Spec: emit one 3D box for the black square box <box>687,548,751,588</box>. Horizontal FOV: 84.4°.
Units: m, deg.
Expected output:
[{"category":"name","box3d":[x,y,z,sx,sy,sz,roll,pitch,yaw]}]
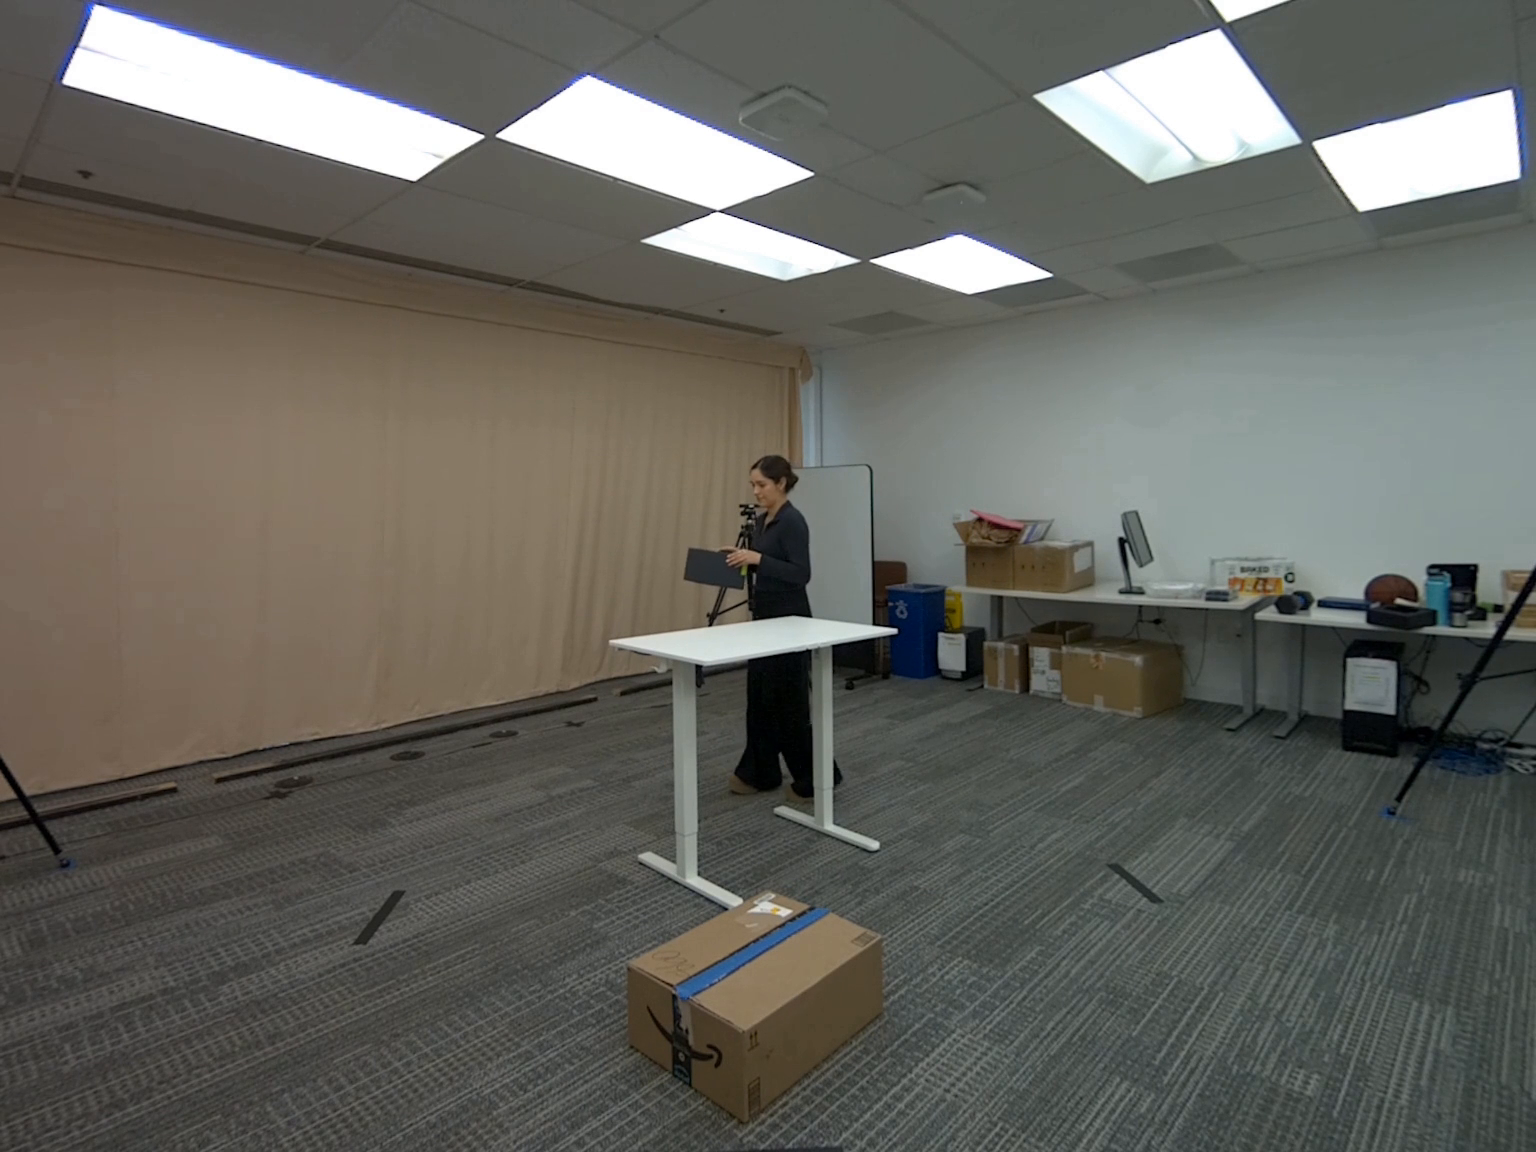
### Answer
[{"category":"black square box","box3d":[-0.227,-0.041,3.927,0.212,0.156,0.233,4,1,-24]}]
